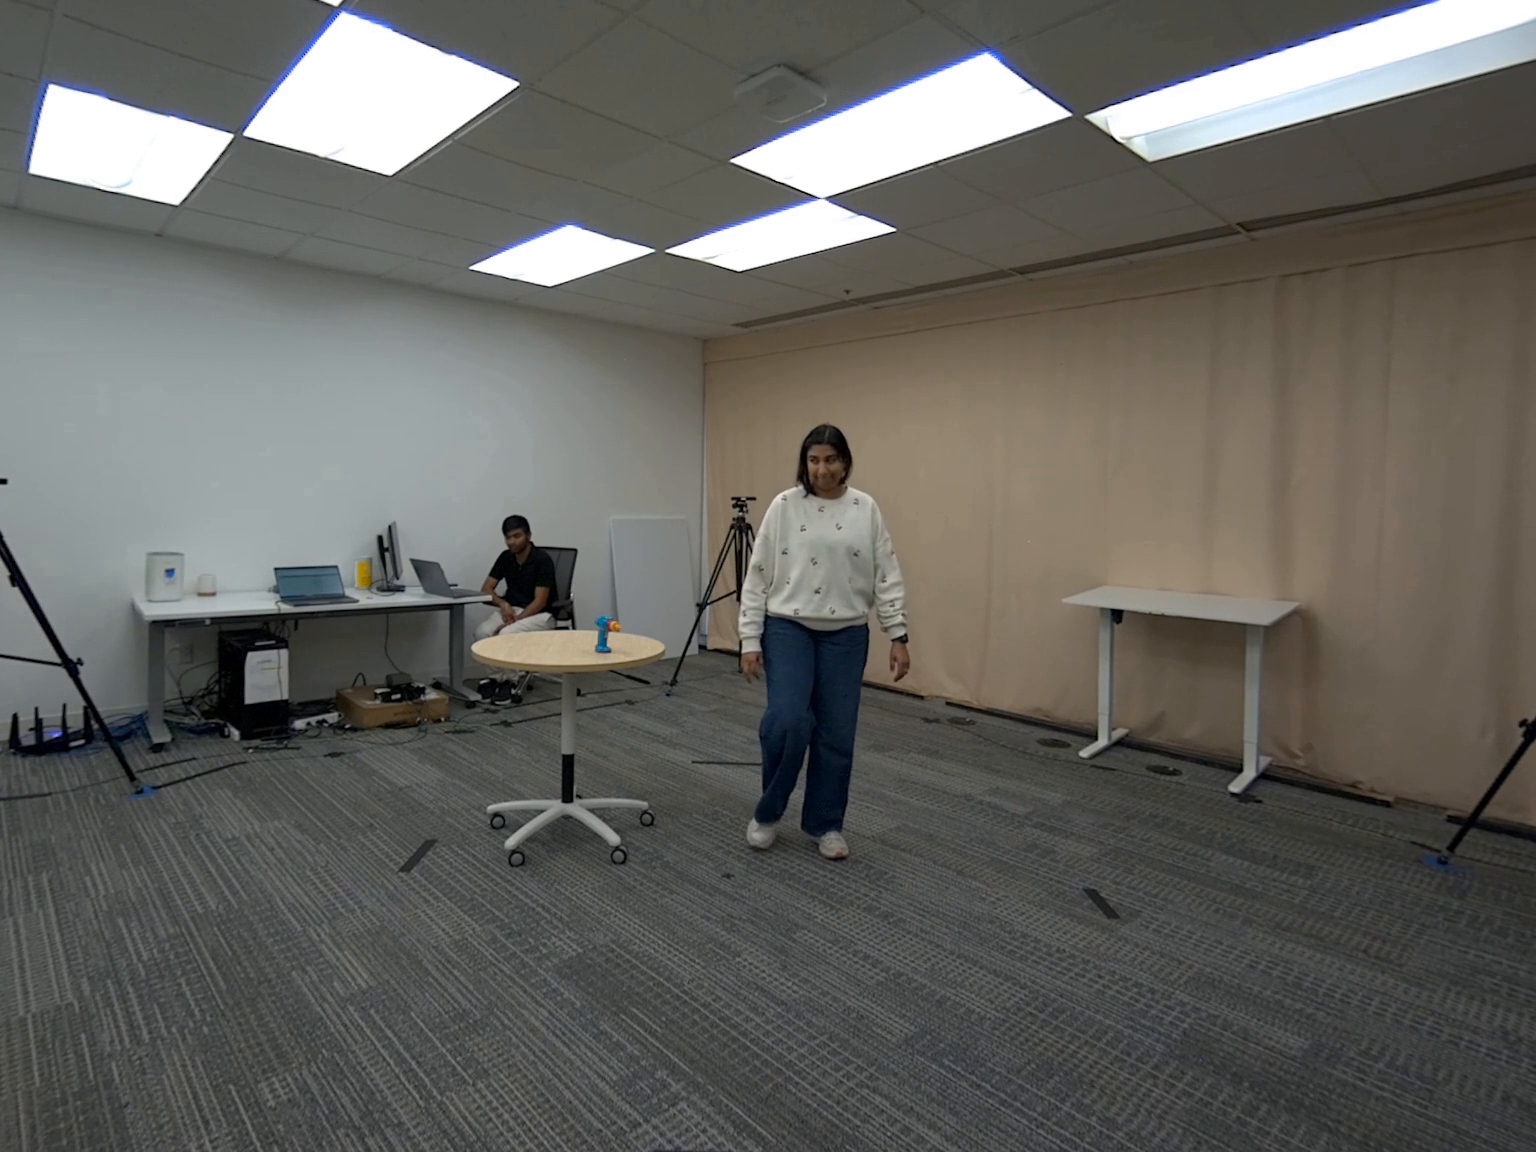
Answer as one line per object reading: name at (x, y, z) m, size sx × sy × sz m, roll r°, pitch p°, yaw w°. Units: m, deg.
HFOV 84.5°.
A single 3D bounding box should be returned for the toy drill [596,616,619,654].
toy drill at (-0.617, 0.228, 3.259) m, size 0.174 × 0.145 × 0.060 m, roll 5°, pitch 6°, yaw 44°
